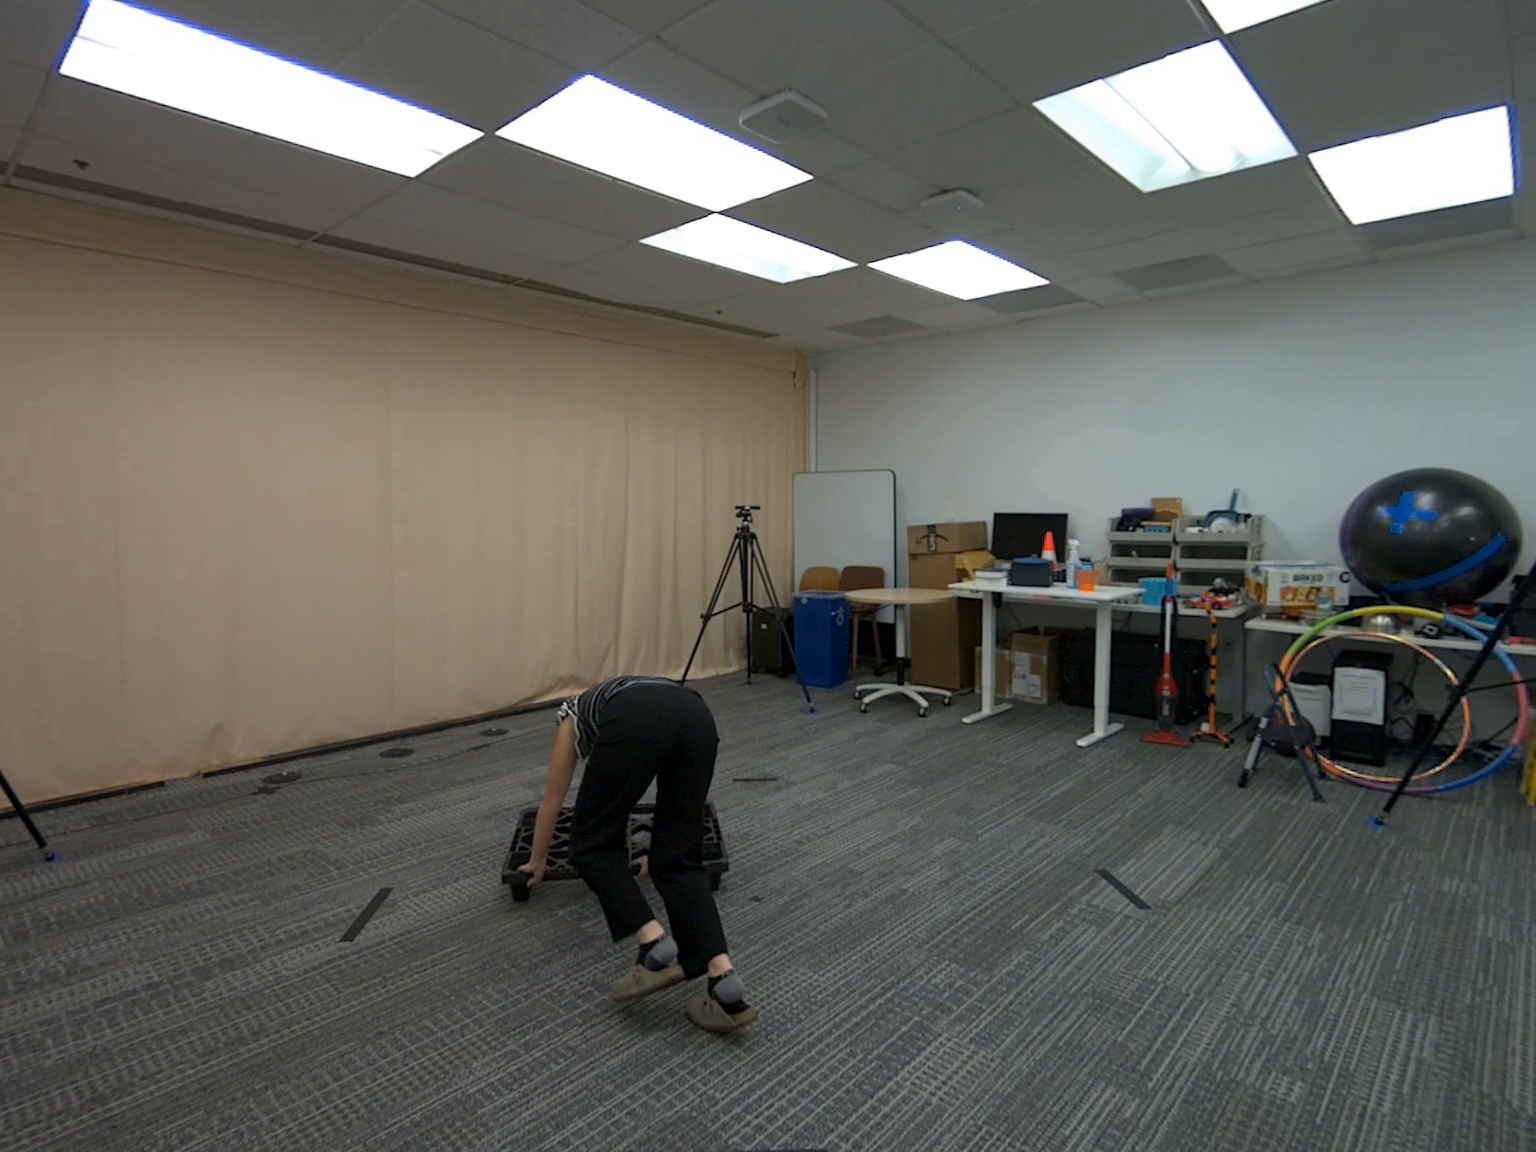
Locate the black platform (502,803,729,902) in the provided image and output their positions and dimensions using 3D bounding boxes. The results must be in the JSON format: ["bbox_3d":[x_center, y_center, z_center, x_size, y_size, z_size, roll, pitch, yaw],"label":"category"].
[{"bbox_3d":[-0.577,1.055,3.238,0.799,0.143,0.612,-1,5,-8],"label":"black platform"}]
